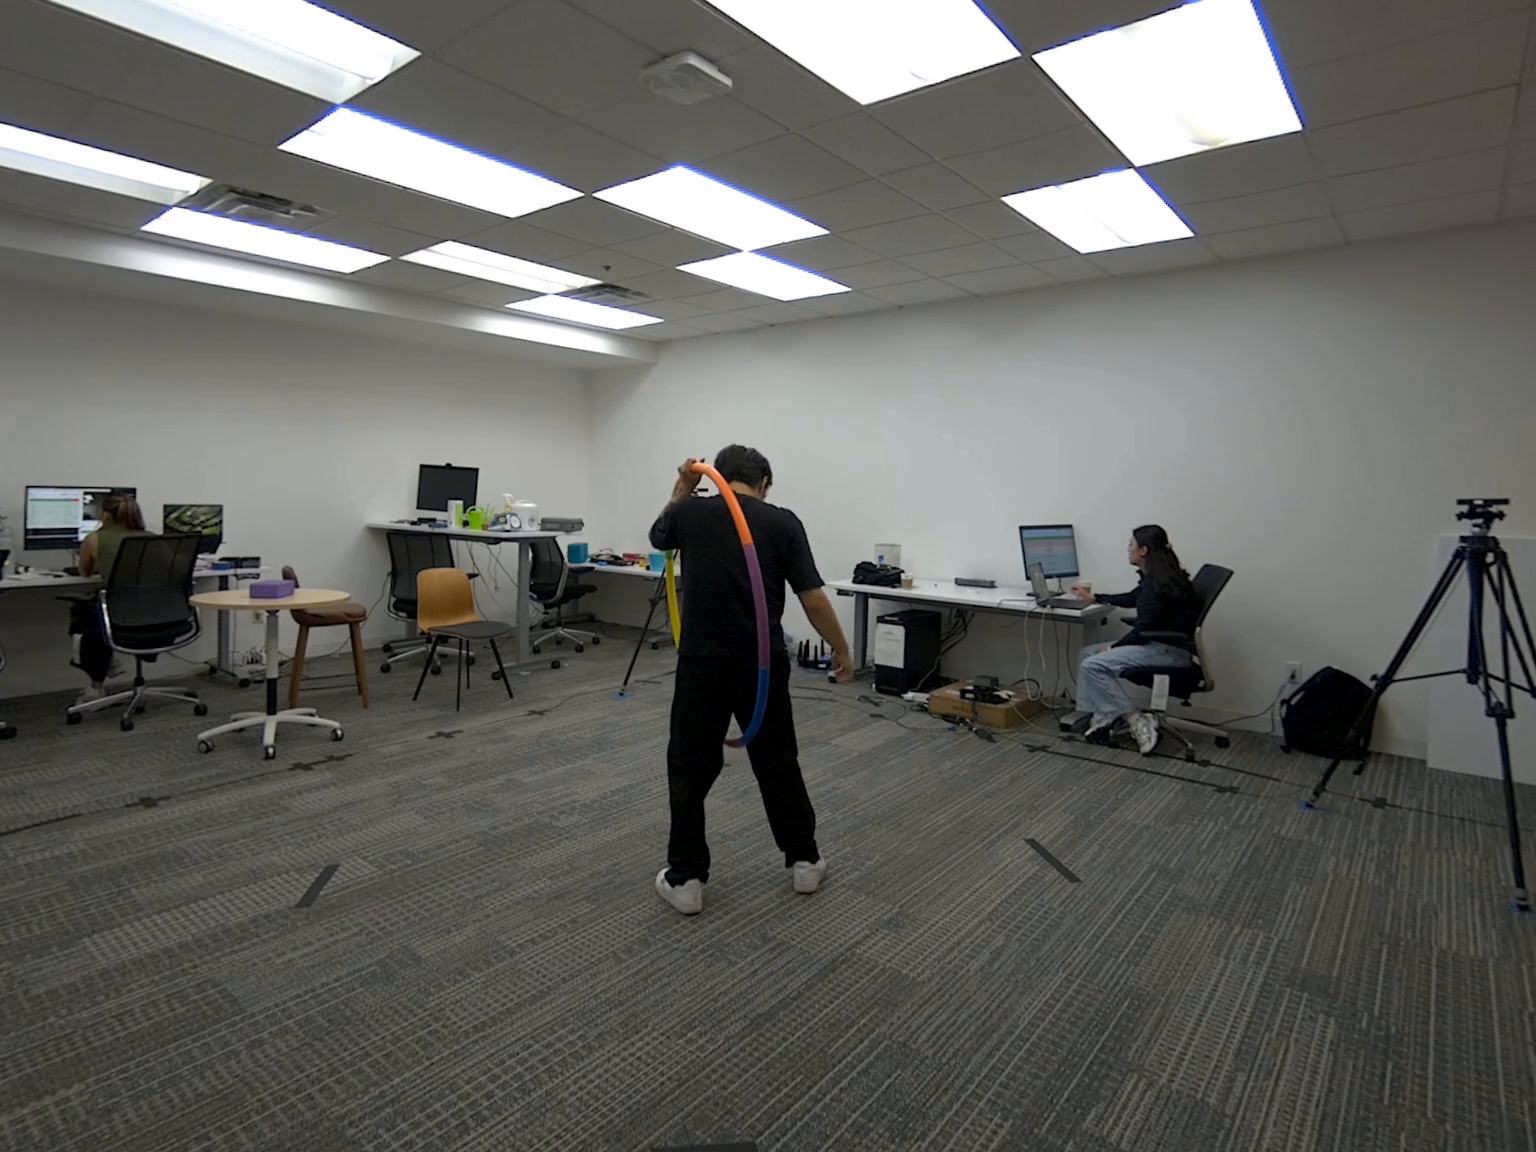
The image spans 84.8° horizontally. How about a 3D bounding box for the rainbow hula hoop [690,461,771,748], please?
[{"bbox_3d":[-0.208,0.090,2.980,0.035,0.973,1.002,-7,7,-21],"label":"rainbow hula hoop"}]
